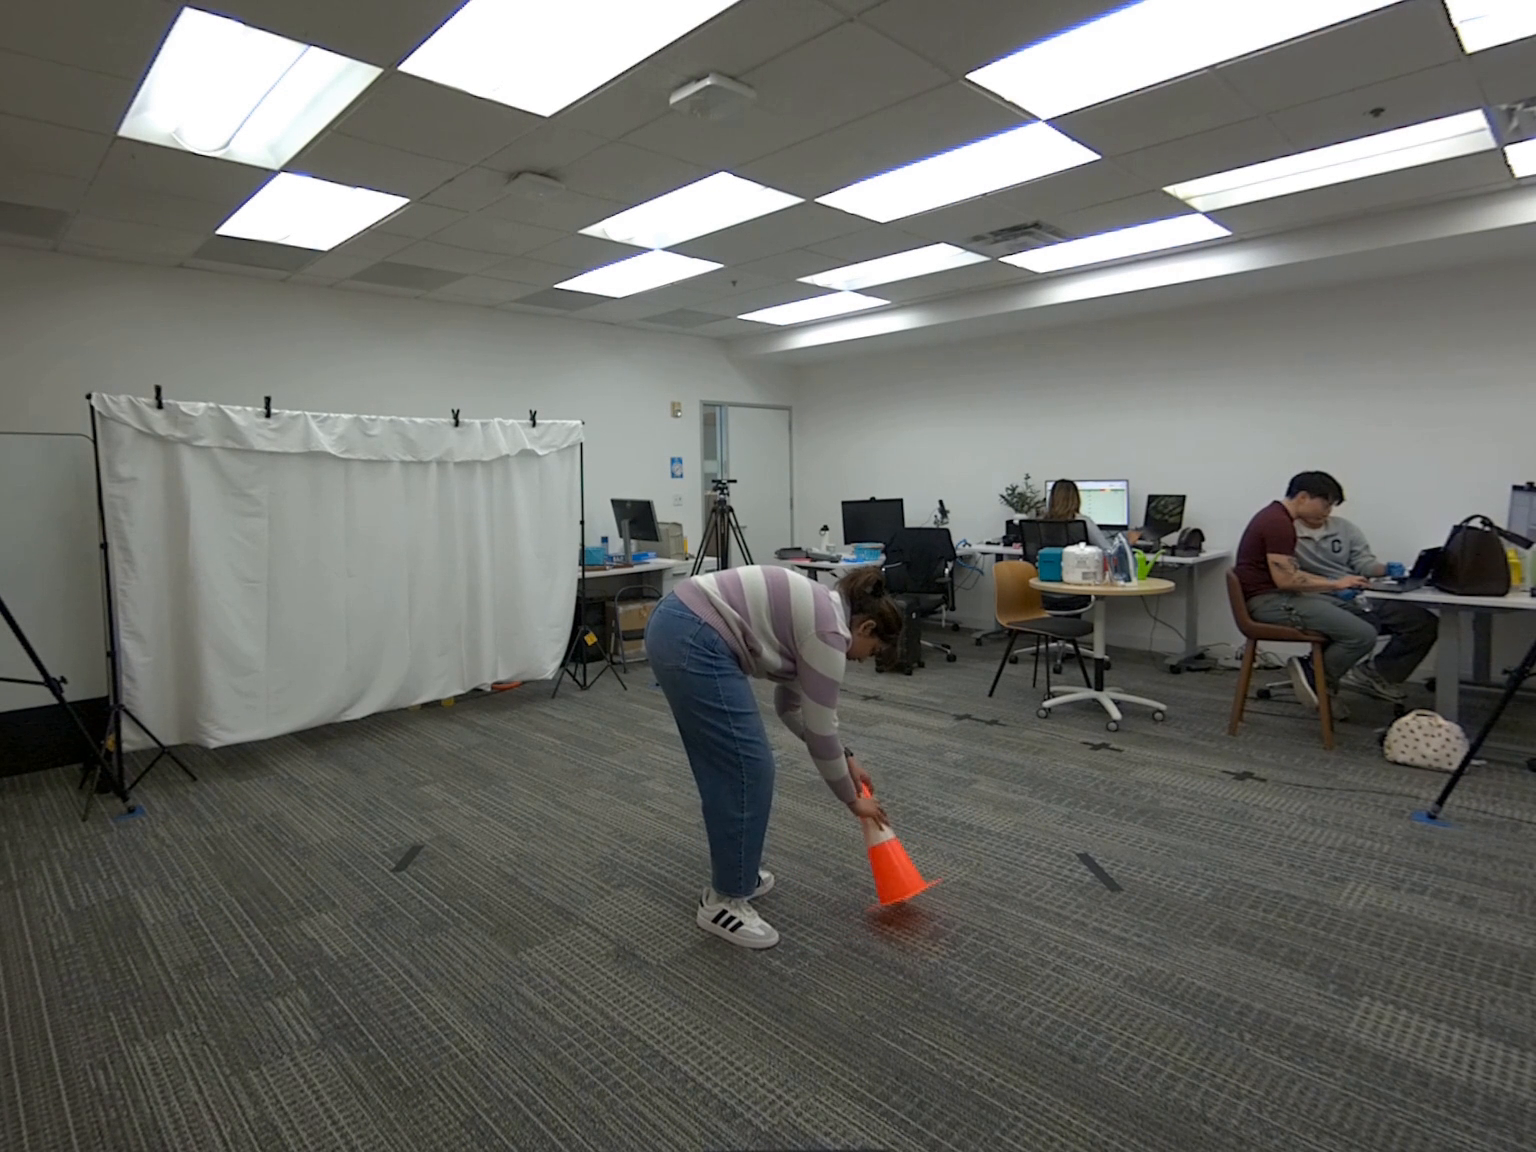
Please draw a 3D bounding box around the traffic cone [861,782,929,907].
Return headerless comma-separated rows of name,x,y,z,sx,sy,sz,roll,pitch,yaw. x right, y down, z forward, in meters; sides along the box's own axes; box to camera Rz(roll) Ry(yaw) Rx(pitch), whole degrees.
traffic cone,0.358,0.843,2.769,0.207,0.392,0.197,-31,-22,28
